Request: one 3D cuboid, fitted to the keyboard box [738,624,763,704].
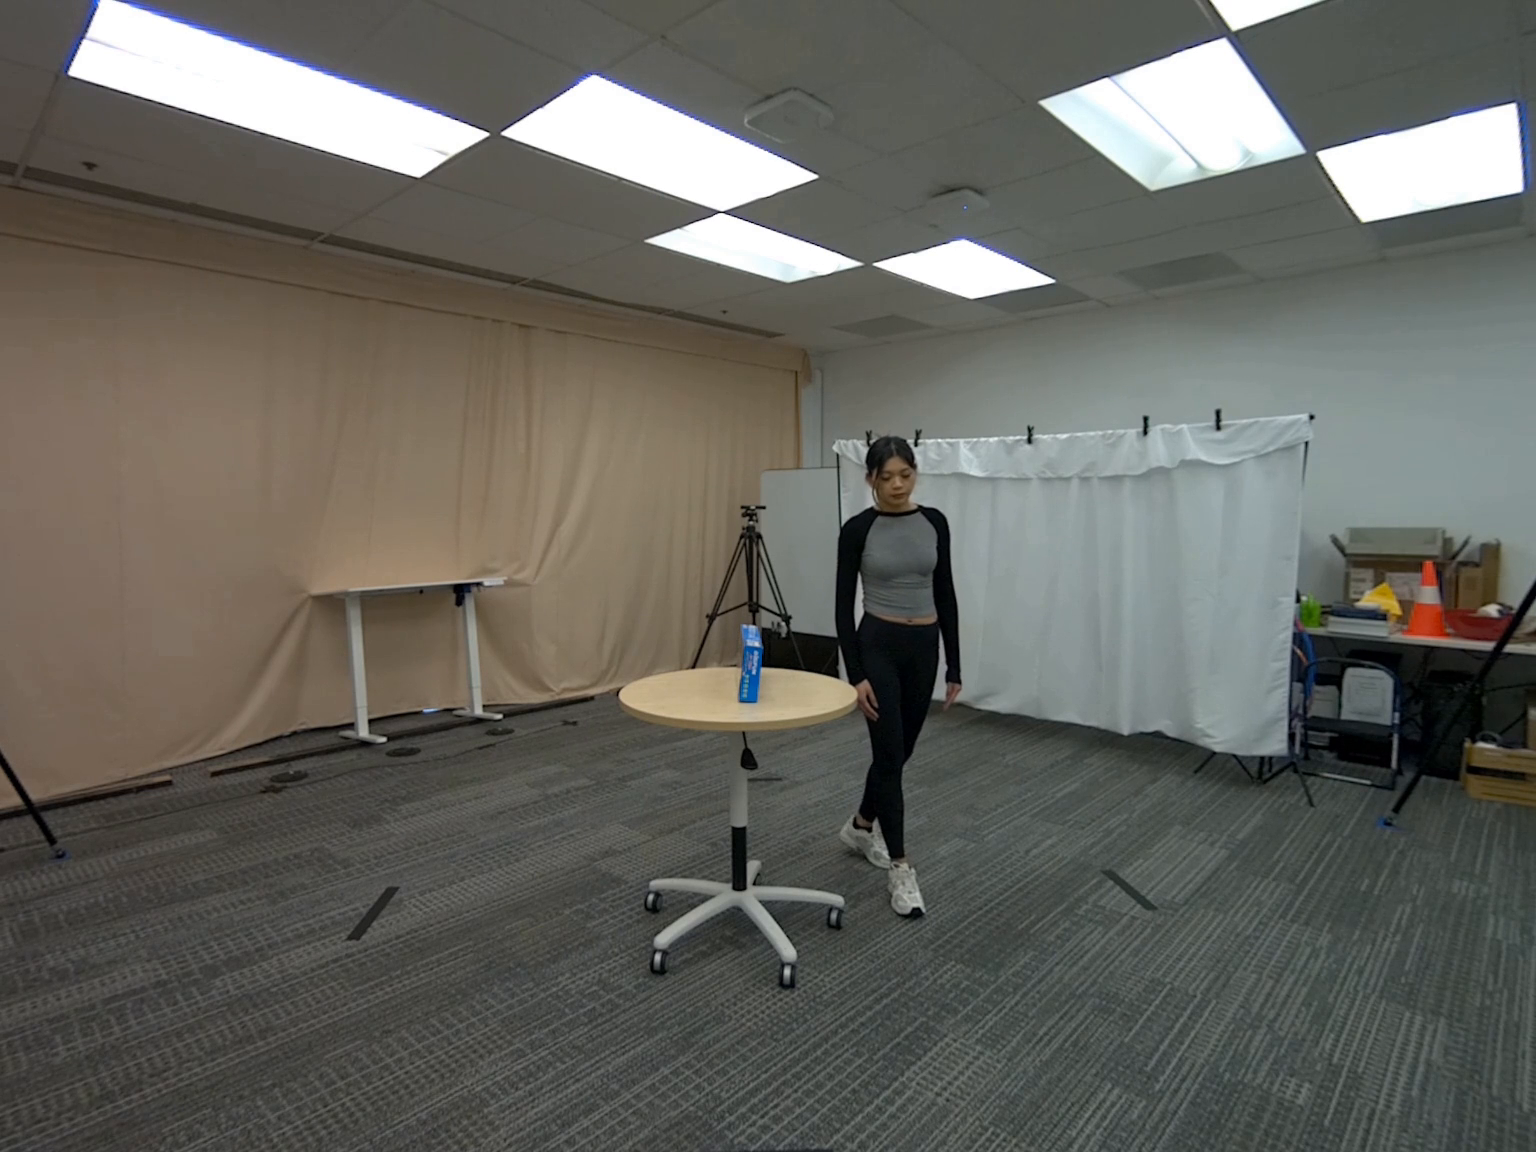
[{"bbox_3d":[-0.057,0.274,2.769,0.059,0.175,0.438,4,4,-4],"label":"keyboard box"}]
